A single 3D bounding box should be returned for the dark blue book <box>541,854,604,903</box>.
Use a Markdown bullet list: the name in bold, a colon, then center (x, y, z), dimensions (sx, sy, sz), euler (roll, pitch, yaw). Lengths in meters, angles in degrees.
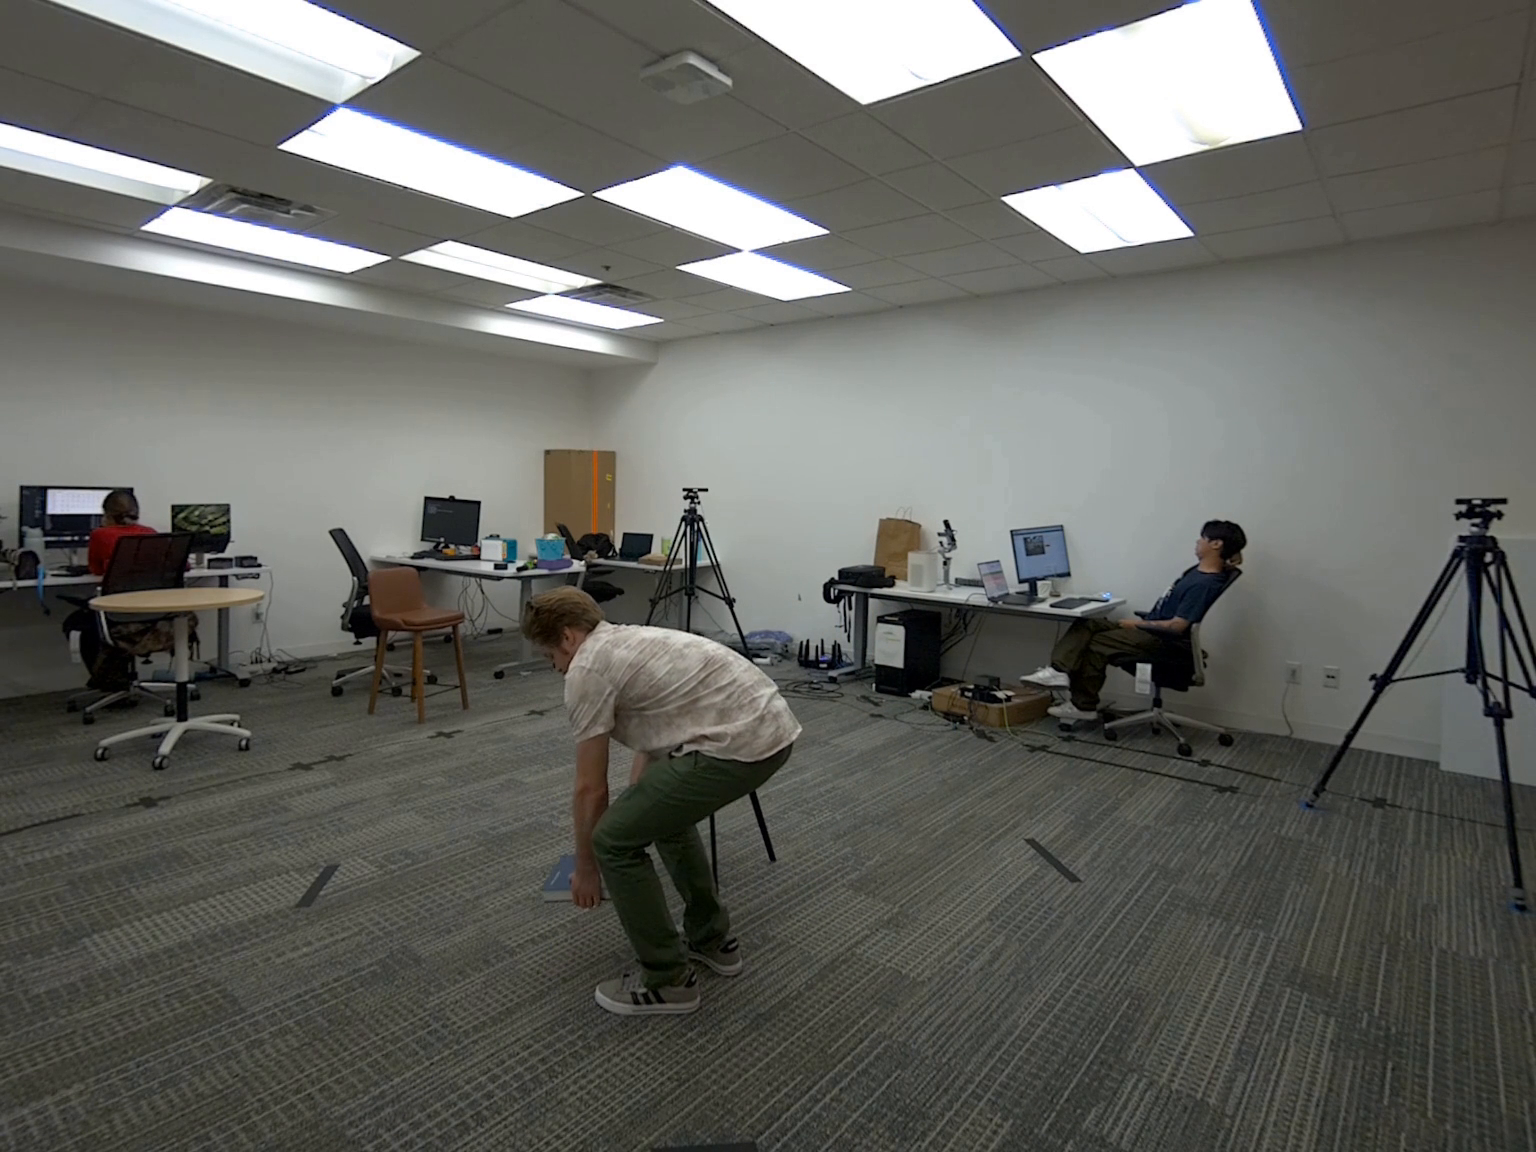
- **dark blue book**: center (-0.537, 0.886, 2.526), dimensions (0.249, 0.044, 0.164), euler (-7, 18, 16)
